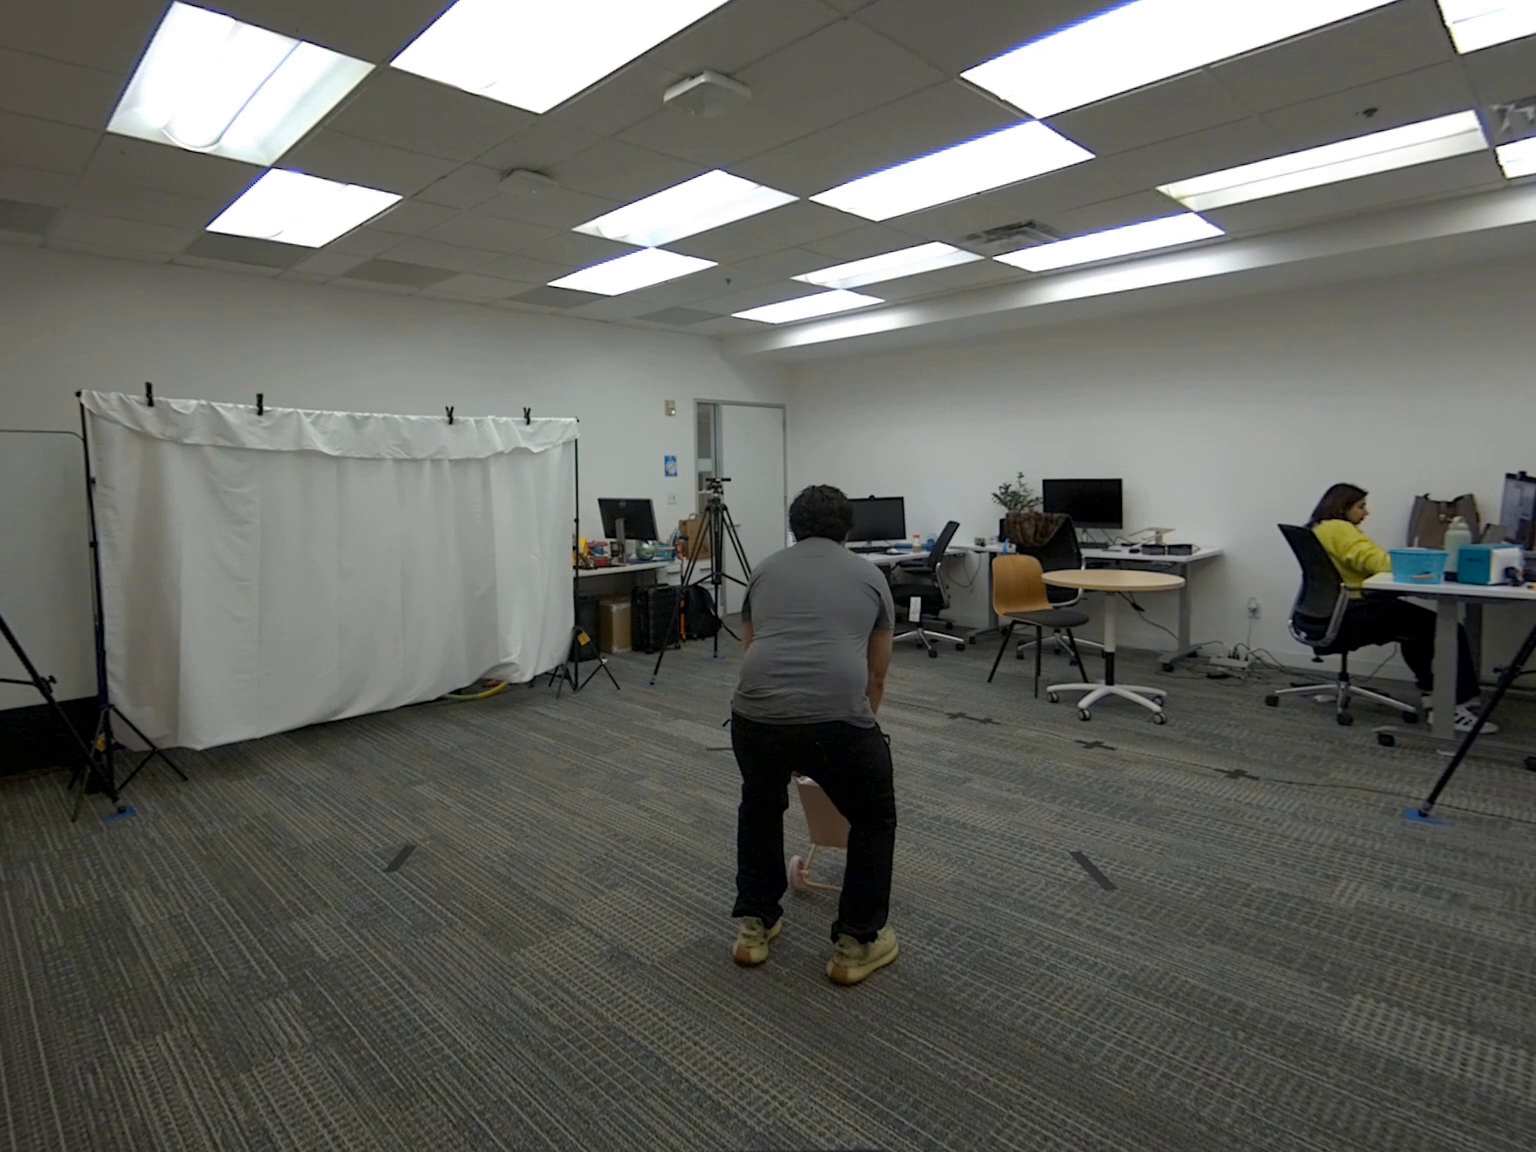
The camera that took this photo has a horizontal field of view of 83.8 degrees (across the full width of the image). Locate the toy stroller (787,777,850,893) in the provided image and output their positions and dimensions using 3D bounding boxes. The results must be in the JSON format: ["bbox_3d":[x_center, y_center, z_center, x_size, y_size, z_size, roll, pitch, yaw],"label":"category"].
[{"bbox_3d":[0.243,0.822,2.892,0.288,0.529,0.337,-1,14,27],"label":"toy stroller"}]
